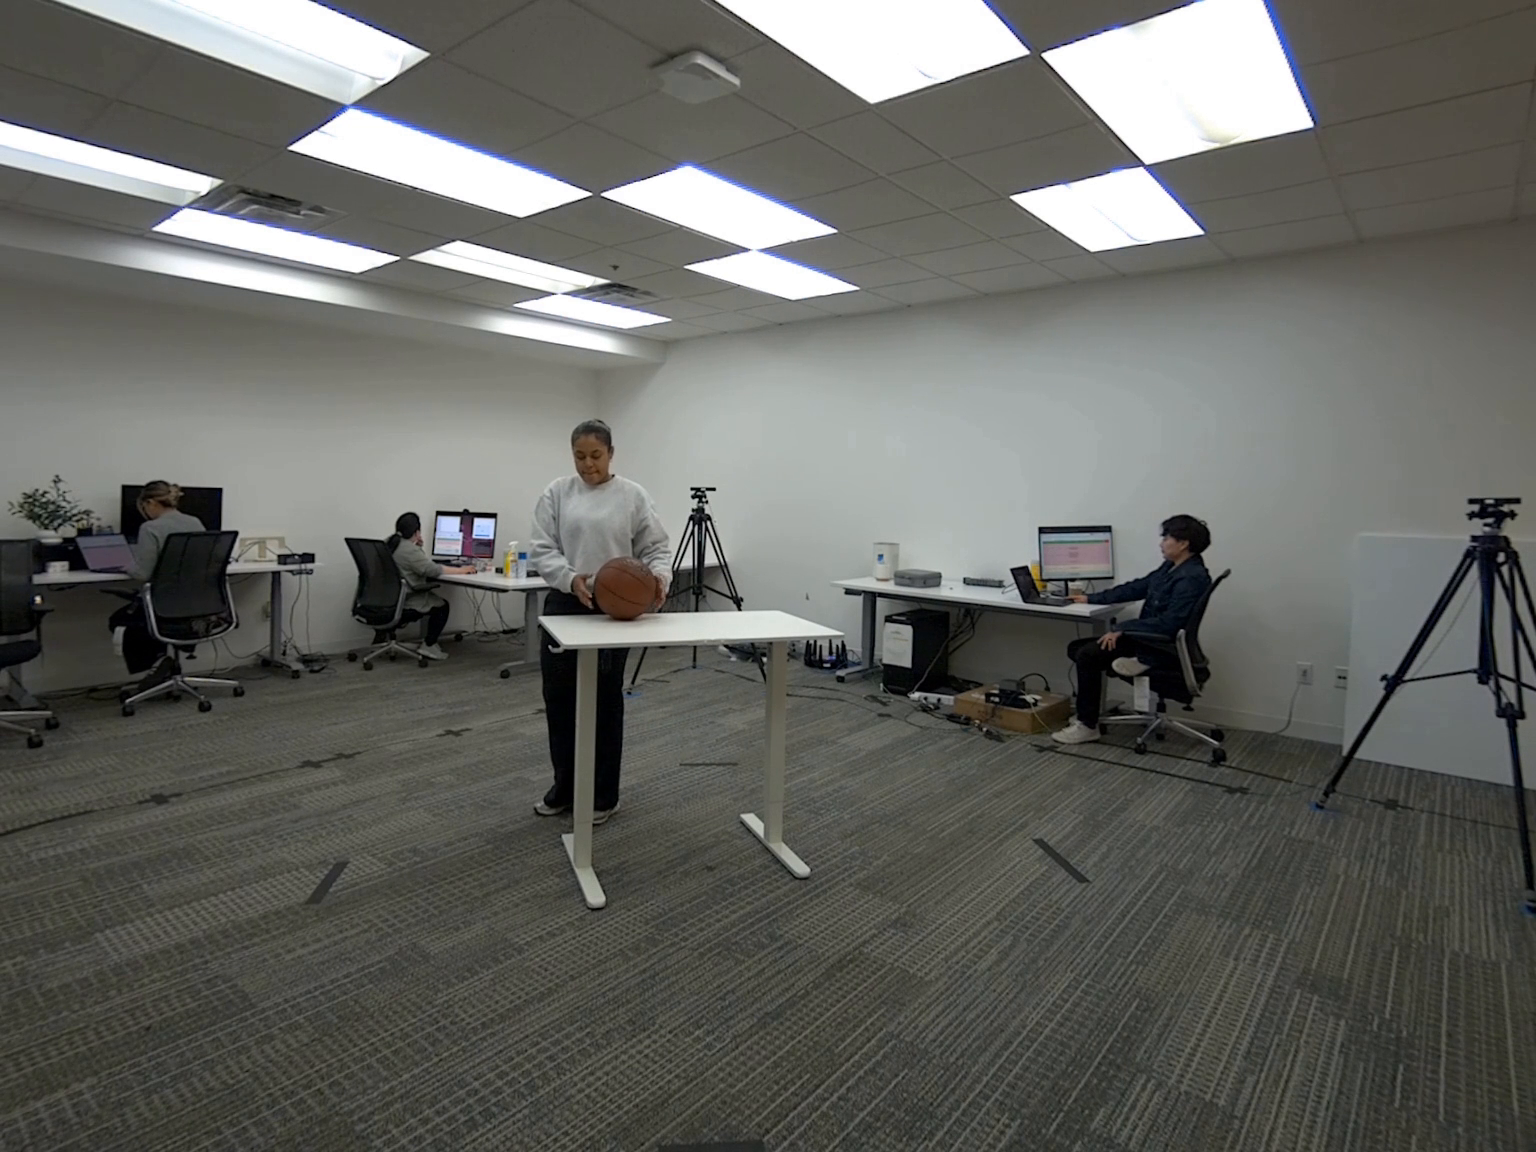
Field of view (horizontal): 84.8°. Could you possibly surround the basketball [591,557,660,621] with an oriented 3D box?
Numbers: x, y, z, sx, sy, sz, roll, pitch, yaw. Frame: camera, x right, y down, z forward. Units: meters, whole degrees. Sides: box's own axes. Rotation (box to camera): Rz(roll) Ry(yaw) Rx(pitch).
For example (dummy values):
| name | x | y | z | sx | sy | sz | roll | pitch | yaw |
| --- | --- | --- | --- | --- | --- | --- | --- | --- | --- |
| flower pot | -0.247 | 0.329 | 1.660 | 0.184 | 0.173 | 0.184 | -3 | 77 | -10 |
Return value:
| name | x | y | z | sx | sy | sz | roll | pitch | yaw |
| --- | --- | --- | --- | --- | --- | --- | --- | --- | --- |
| basketball | -0.575 | 0.039 | 3.240 | 0.235 | 0.235 | 0.237 | 1 | 4 | -2 |
